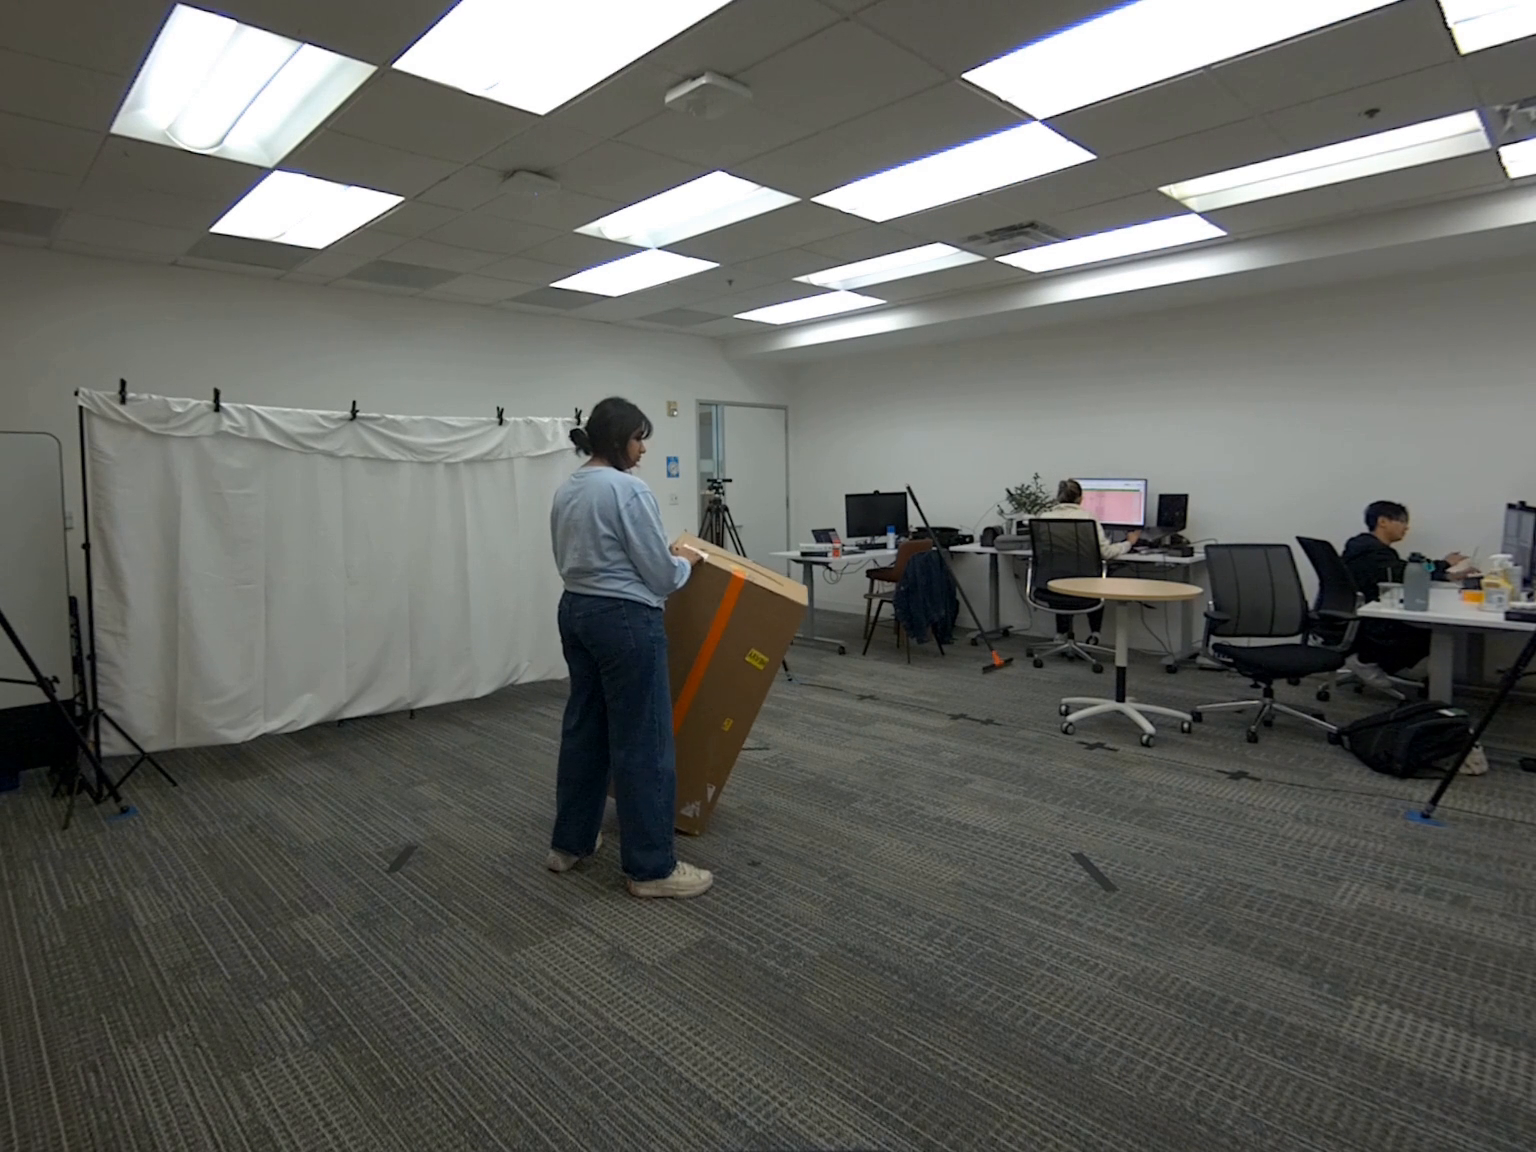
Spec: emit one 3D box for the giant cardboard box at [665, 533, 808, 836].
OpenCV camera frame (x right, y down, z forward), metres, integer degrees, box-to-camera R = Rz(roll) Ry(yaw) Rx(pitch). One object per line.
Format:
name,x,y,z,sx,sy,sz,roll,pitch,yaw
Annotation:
giant cardboard box,-0.307,0.419,3.497,0.586,1.023,0.447,25,9,2
